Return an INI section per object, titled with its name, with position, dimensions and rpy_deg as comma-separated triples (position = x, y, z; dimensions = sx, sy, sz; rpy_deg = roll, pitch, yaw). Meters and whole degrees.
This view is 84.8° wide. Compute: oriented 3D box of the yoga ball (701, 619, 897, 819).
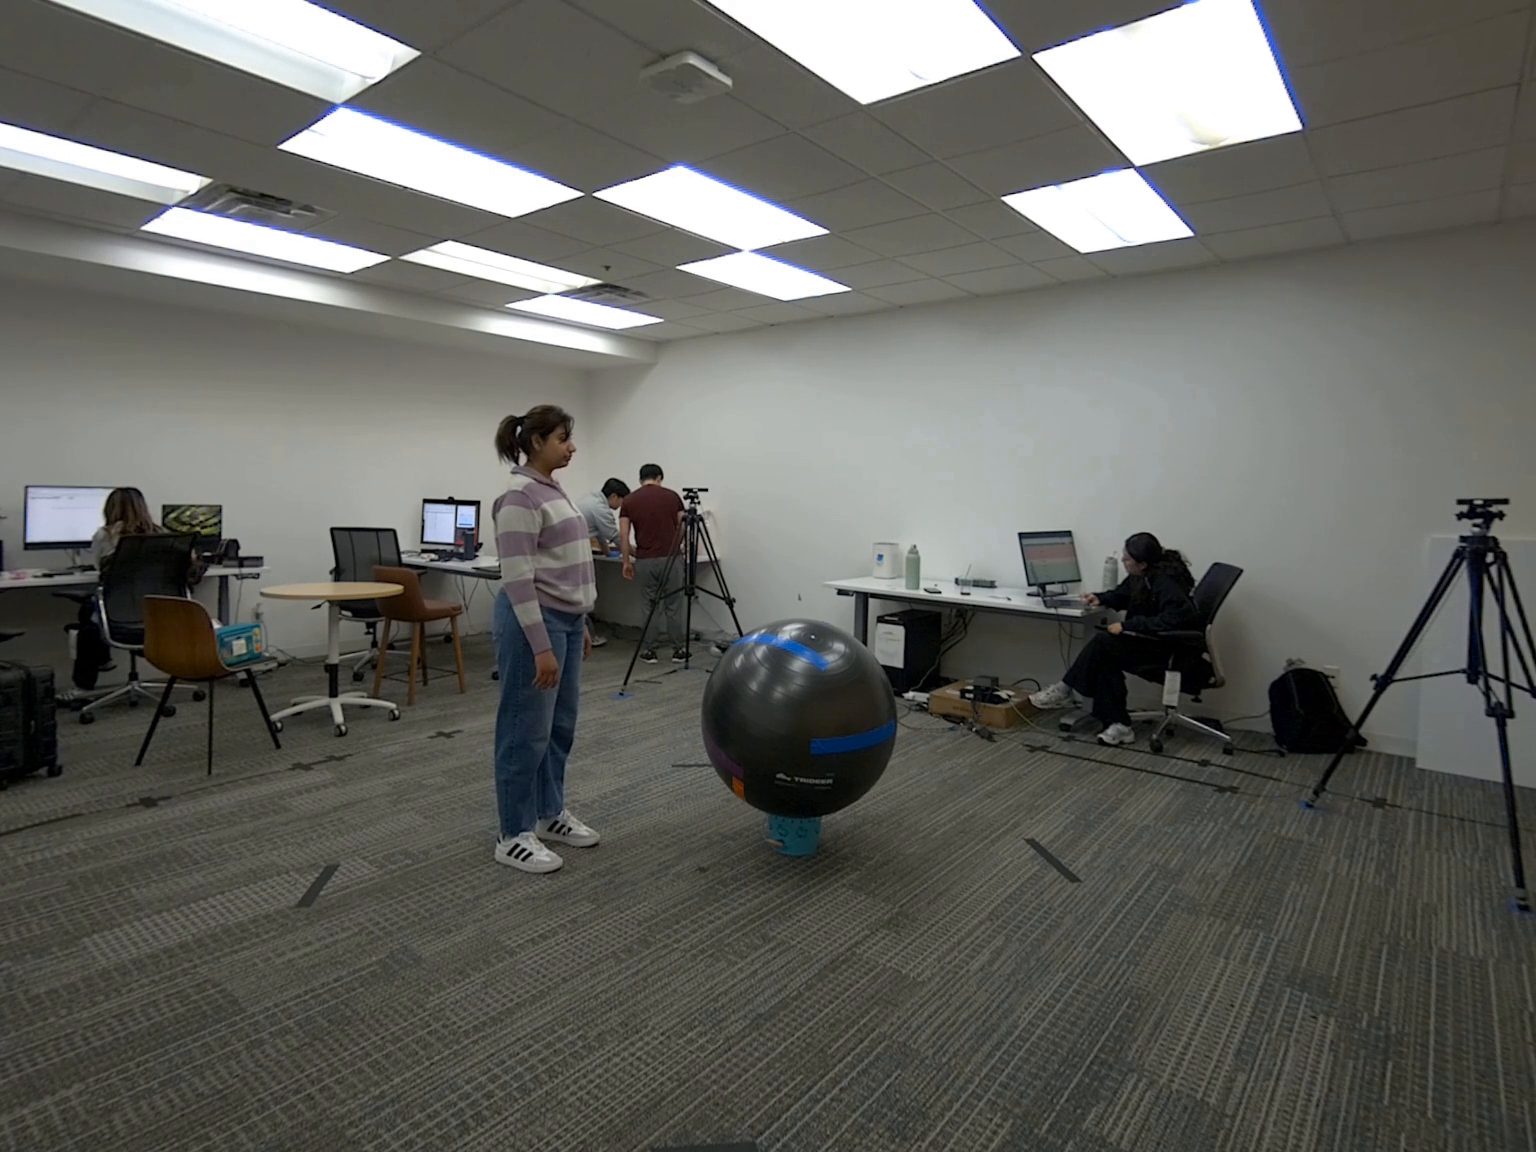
[yoga ball]
position = 0.108, 0.550, 3.302
dimensions = 0.757, 0.755, 0.762
rpy_deg = 1, 4, -2
